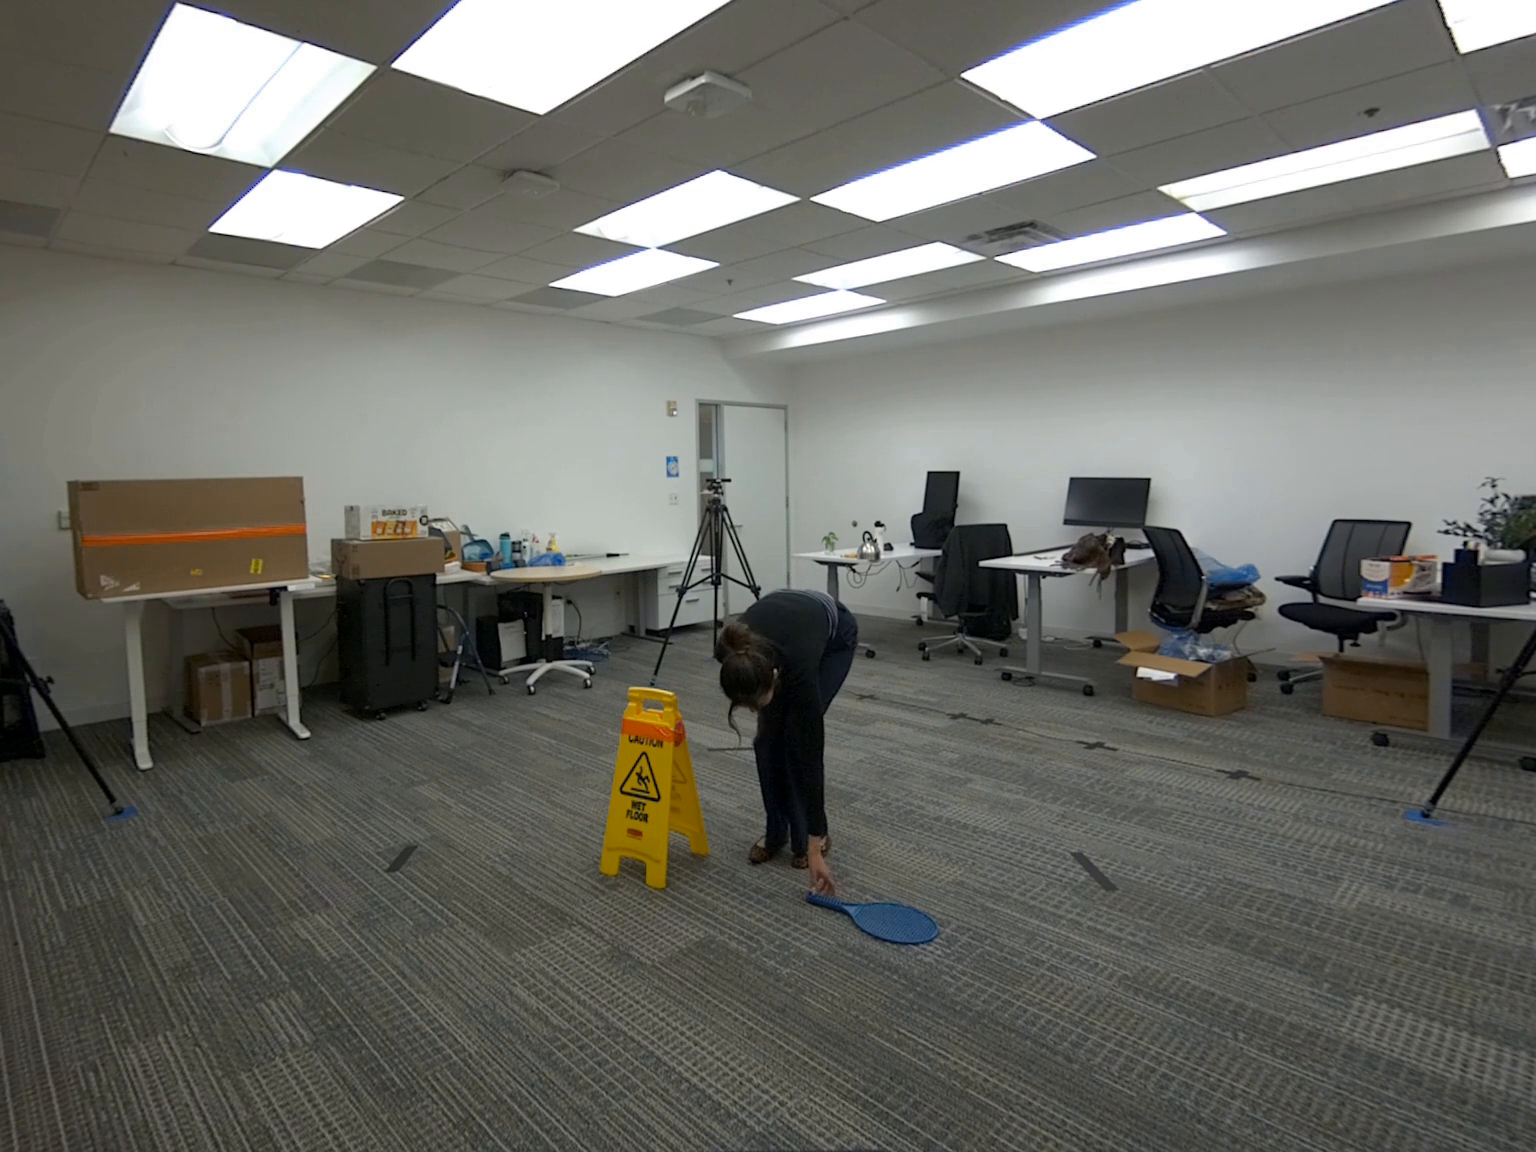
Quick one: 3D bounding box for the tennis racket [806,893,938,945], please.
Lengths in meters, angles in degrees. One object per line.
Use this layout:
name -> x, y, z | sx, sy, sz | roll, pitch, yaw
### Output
tennis racket -> 0.327, 1.072, 2.698 | 0.445, 0.031, 0.209 | 4, 9, 30
